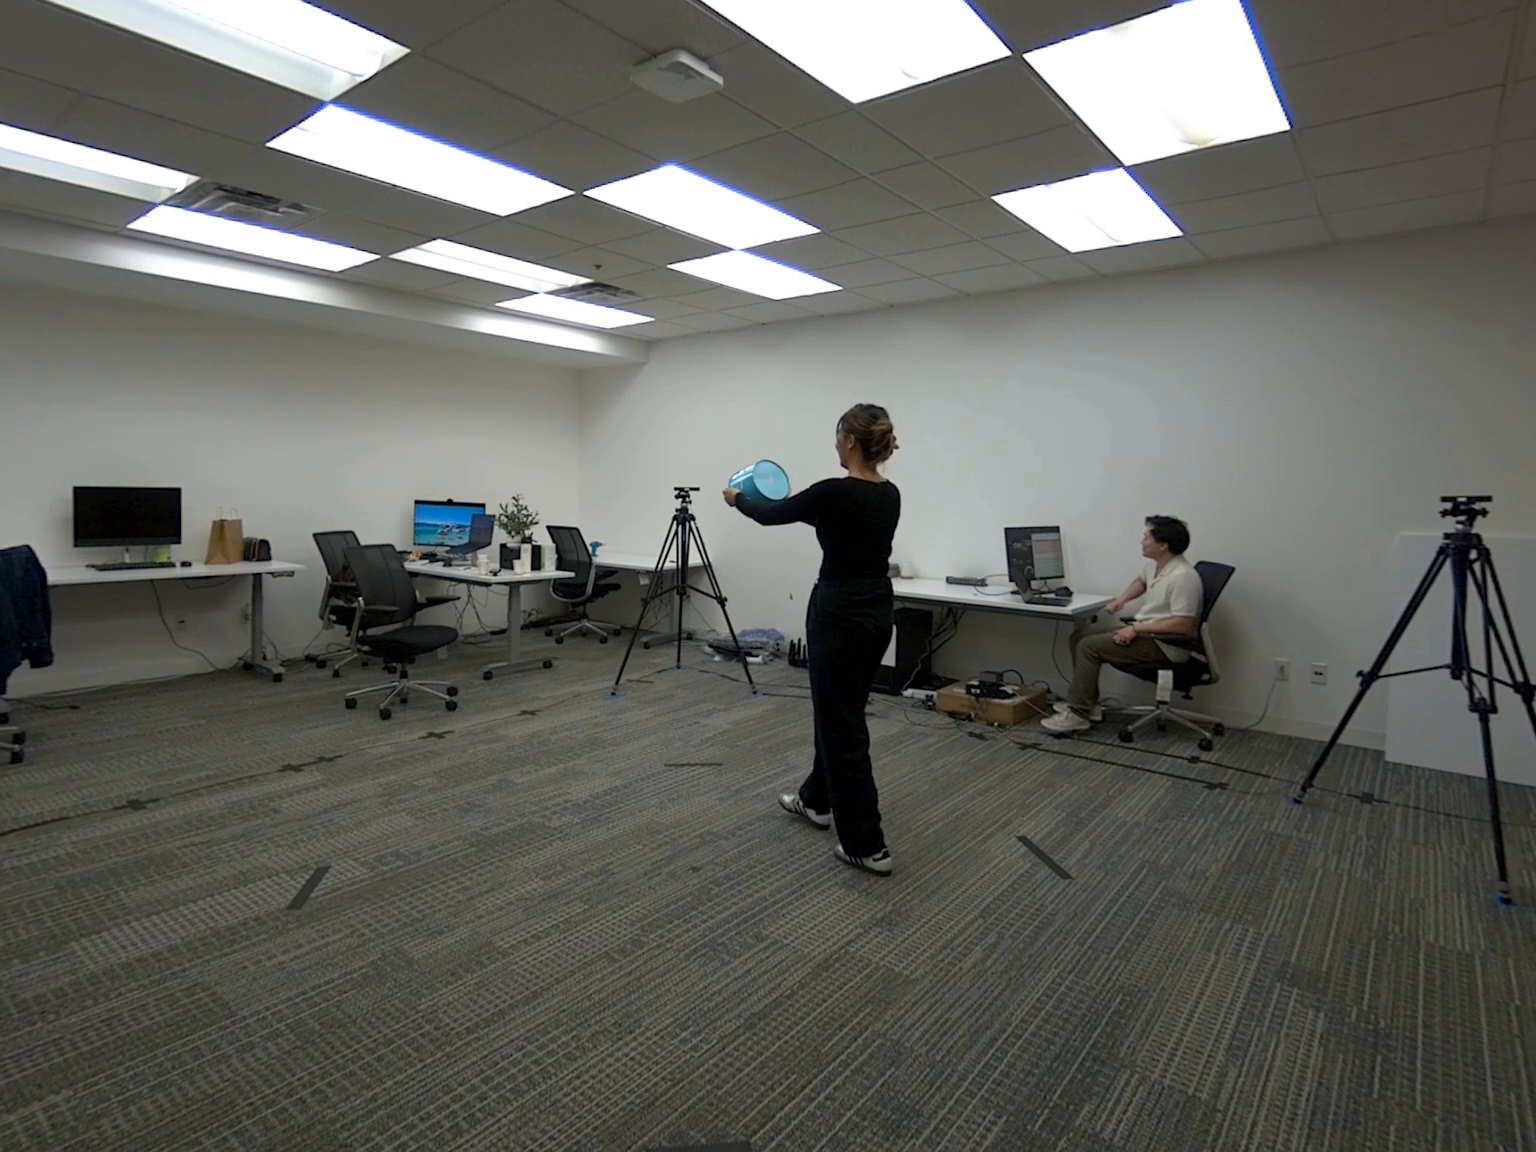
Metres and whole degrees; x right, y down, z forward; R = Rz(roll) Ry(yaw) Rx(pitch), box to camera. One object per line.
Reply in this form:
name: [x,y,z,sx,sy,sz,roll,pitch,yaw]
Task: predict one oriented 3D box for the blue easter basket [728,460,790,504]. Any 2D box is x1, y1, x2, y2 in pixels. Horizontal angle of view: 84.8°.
blue easter basket: [-0.036,-0.374,3.555,0.236,0.248,0.157,-2,-20,-35]
